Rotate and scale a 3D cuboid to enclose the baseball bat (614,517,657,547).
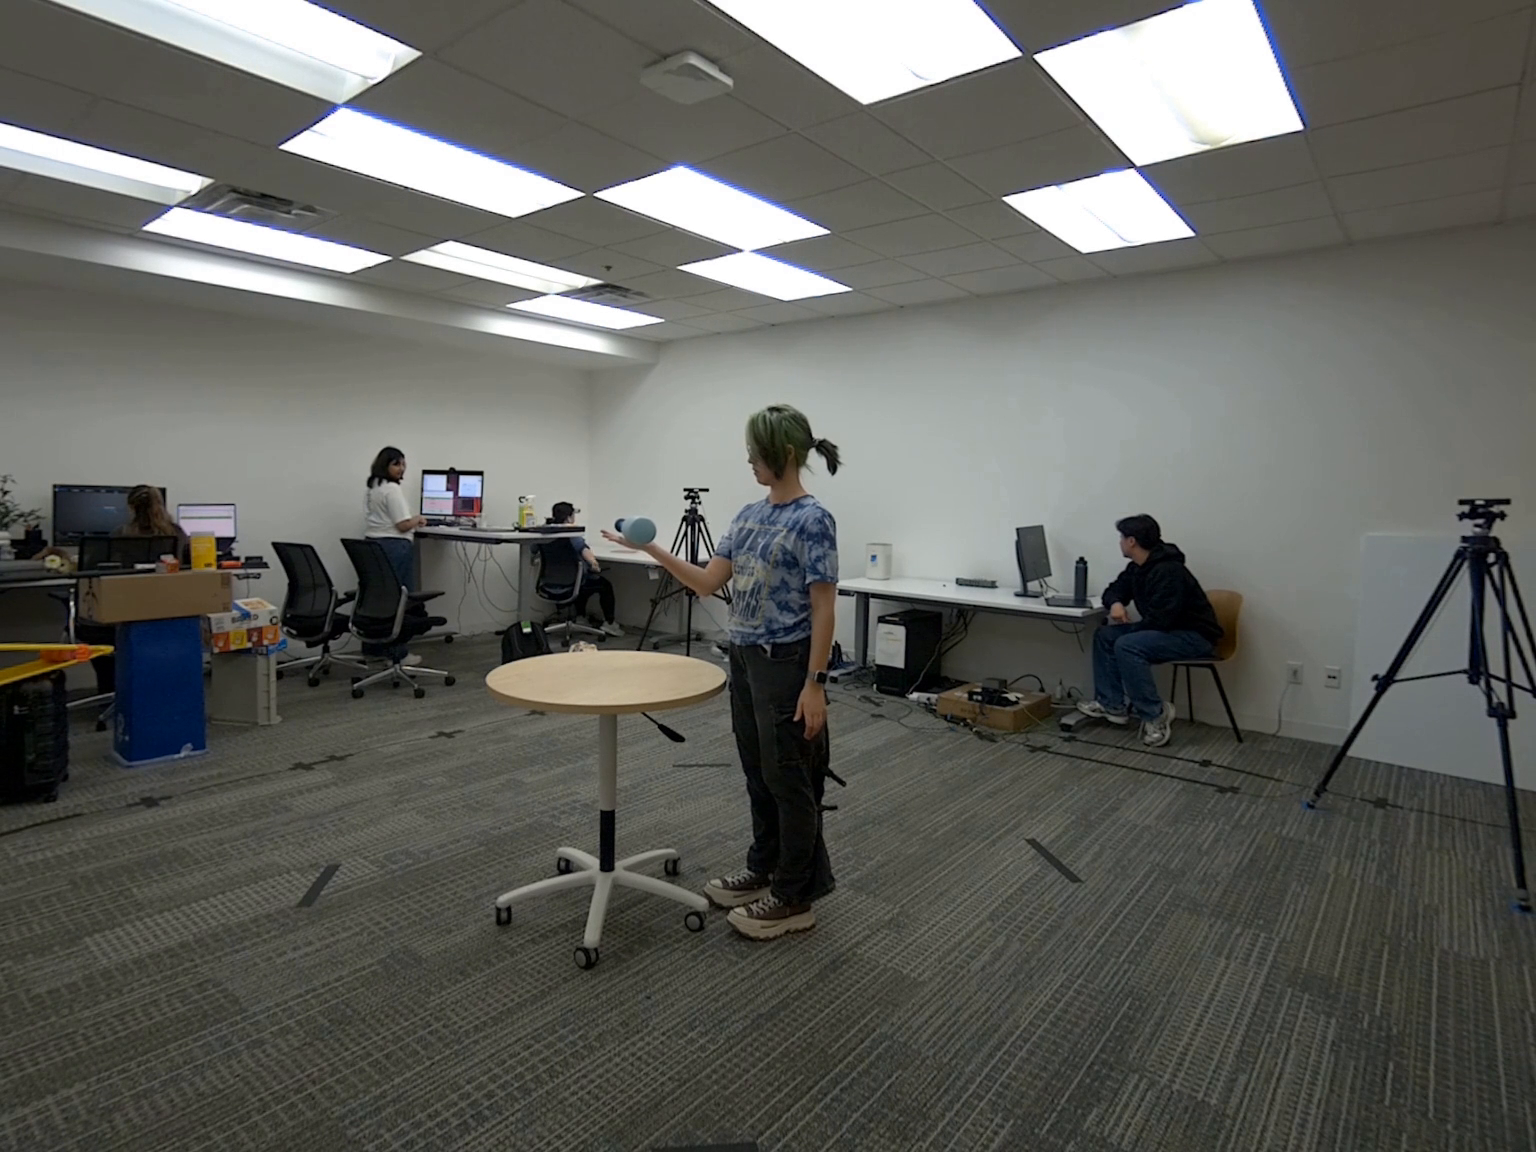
[{"bbox_3d":[-0.466,-0.152,2.762,0.088,0.089,0.552,0,4,-16],"label":"baseball bat"}]
